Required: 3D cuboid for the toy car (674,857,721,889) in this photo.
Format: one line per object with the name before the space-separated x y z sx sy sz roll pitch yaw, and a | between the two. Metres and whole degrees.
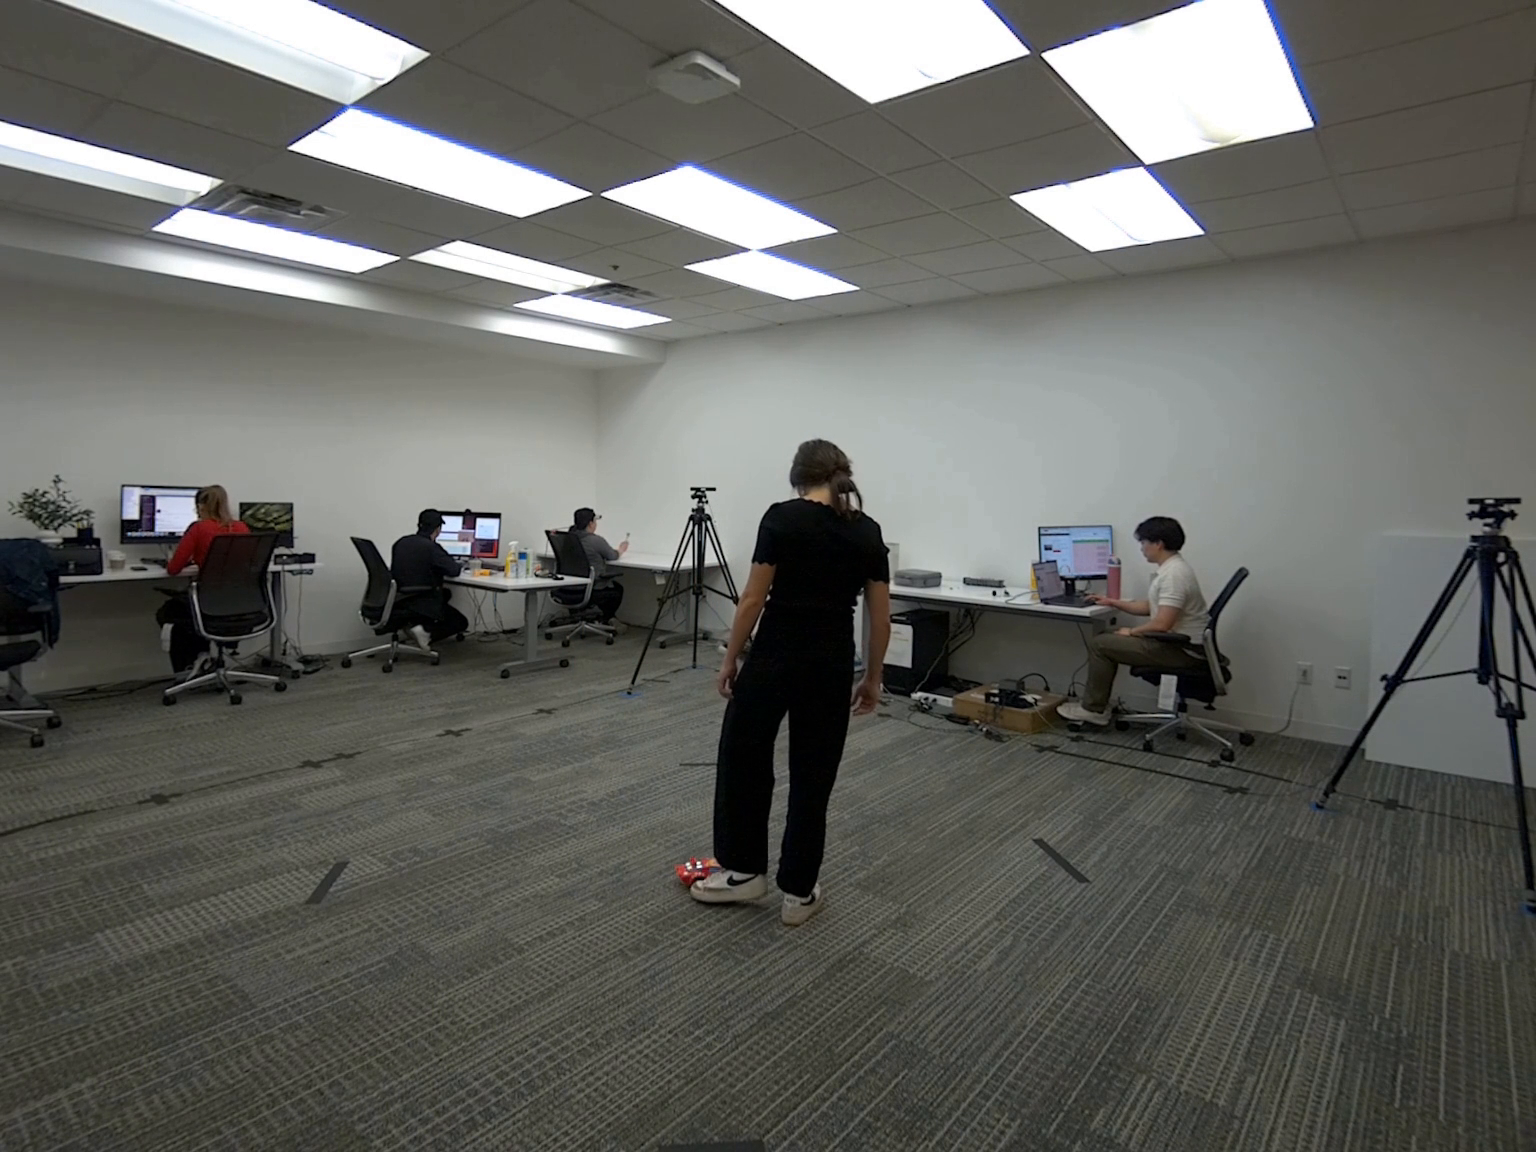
toy car | -0.216 1.043 3.000 0.251 0.083 0.132 12 2 -12
